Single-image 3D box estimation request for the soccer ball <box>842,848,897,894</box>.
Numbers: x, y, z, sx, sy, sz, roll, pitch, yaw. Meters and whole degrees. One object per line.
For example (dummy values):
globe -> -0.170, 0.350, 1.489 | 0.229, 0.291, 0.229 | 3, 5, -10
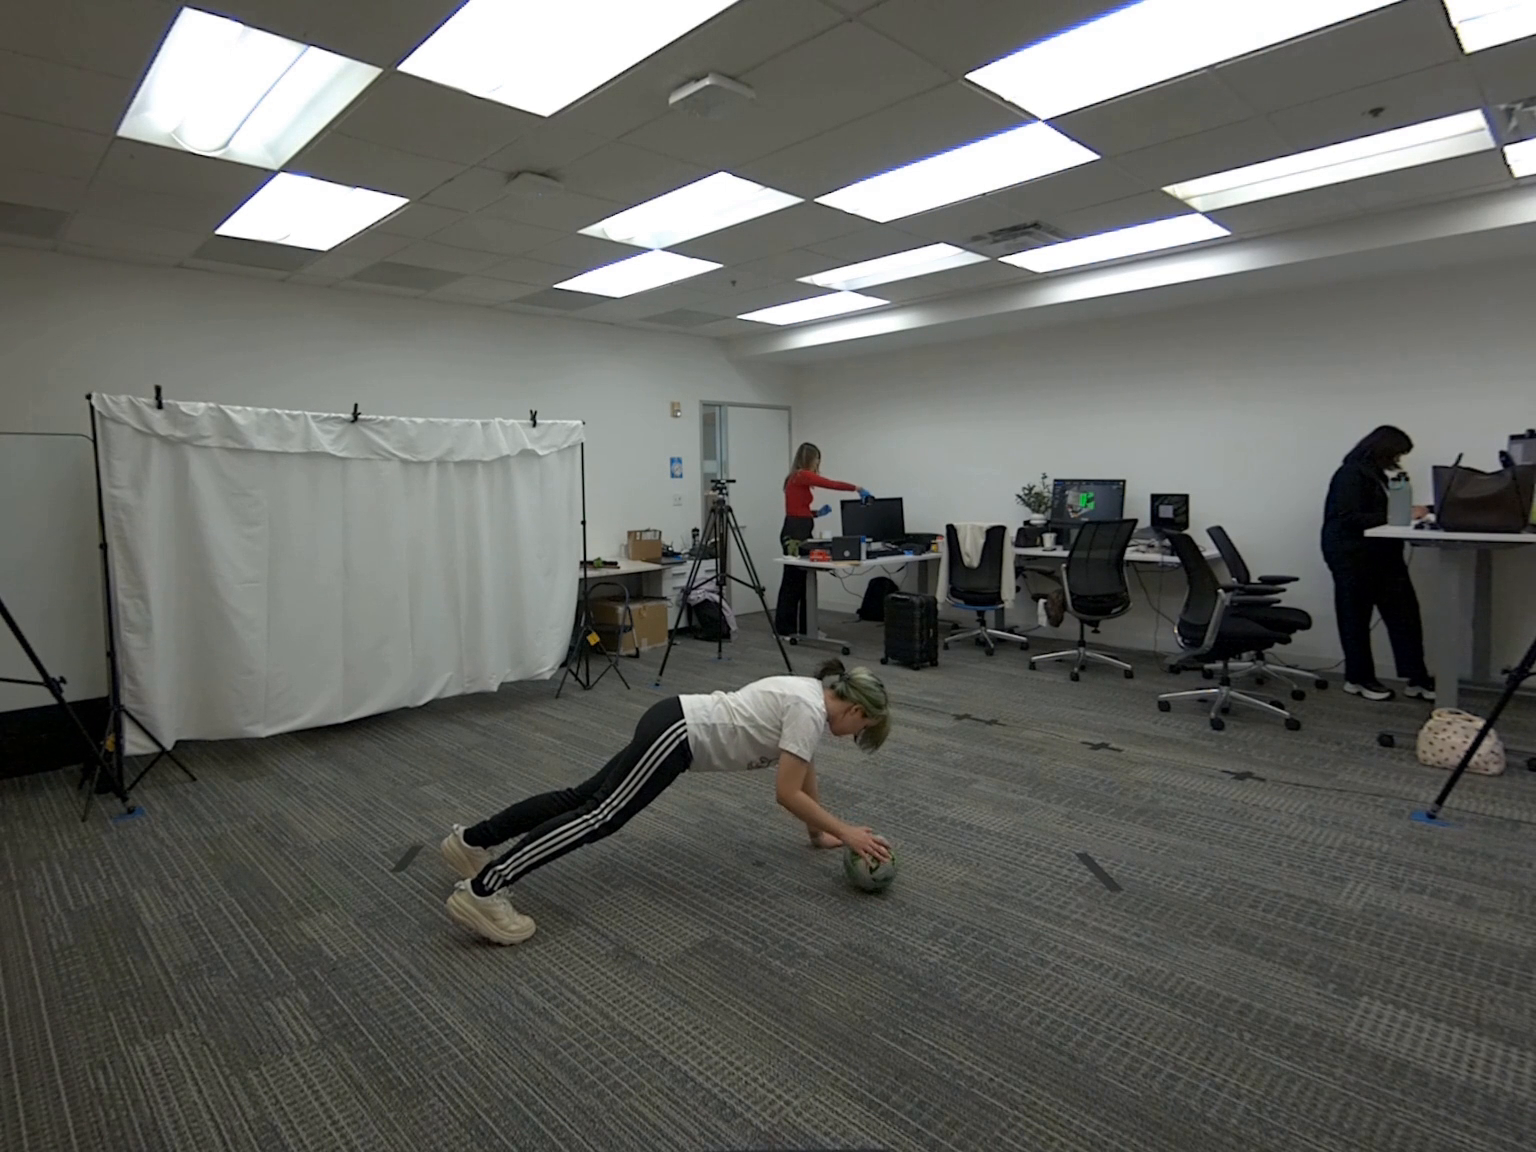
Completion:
soccer ball -> 0.344, 0.966, 2.912 | 0.187, 0.187, 0.188 | -1, 5, -2
